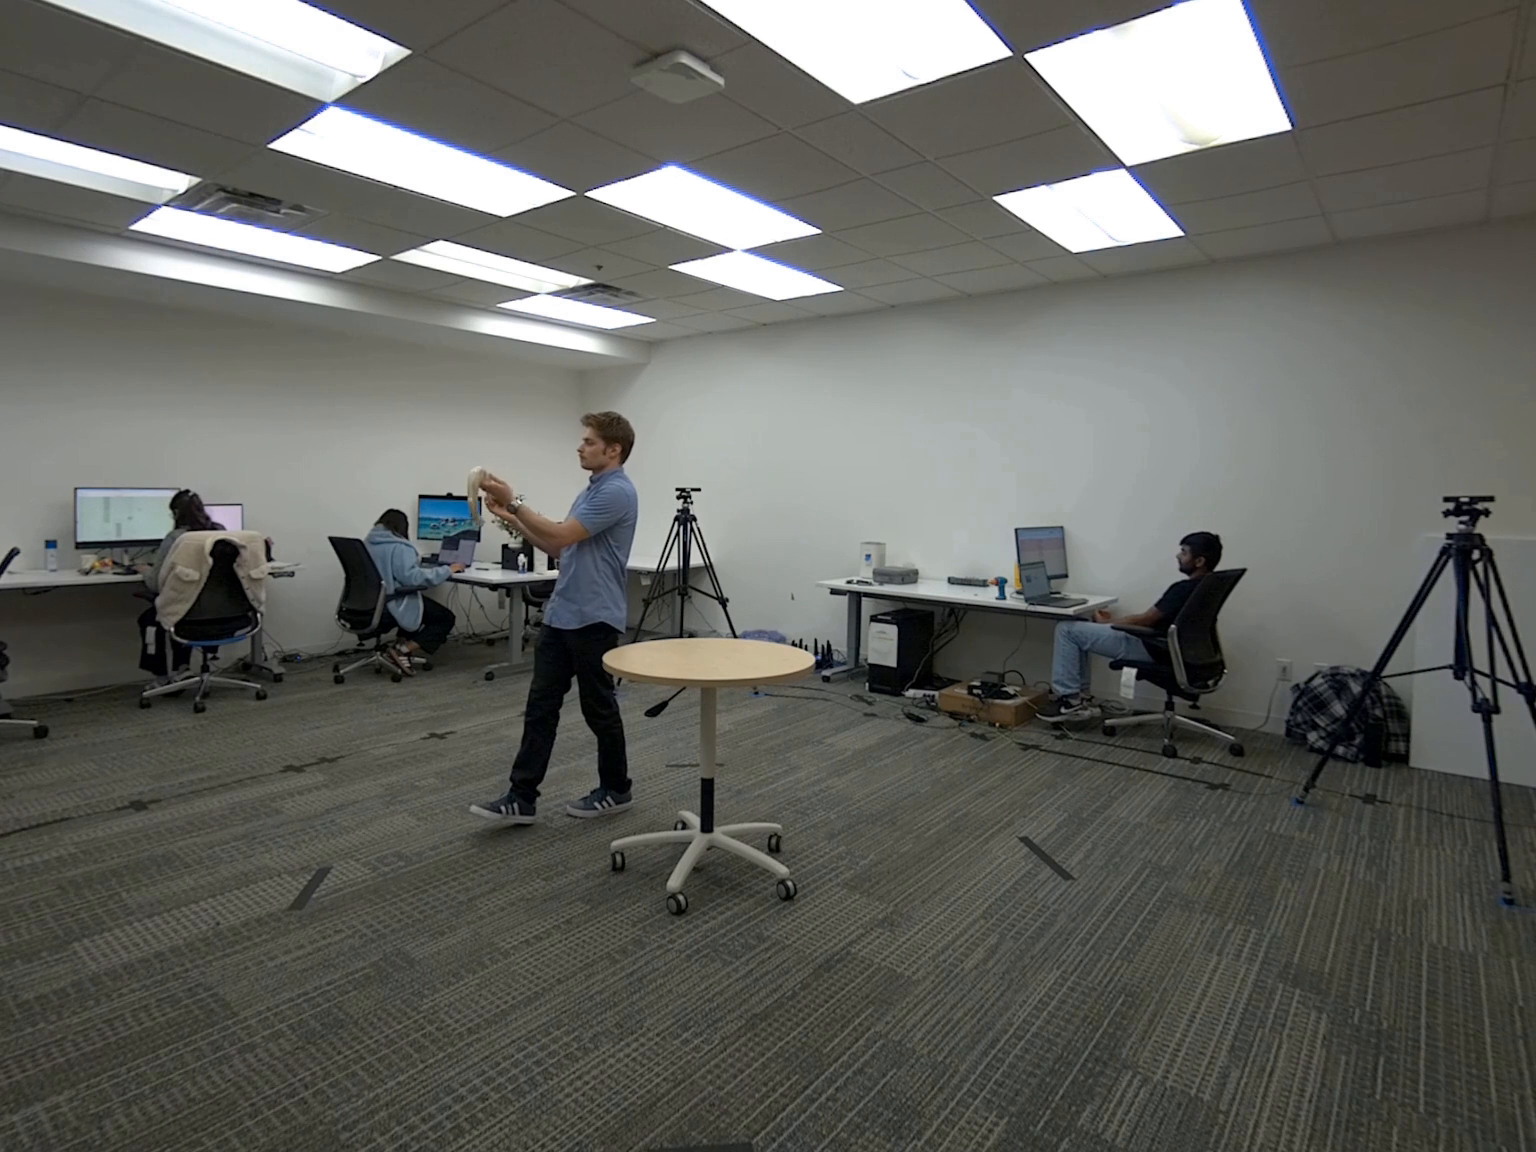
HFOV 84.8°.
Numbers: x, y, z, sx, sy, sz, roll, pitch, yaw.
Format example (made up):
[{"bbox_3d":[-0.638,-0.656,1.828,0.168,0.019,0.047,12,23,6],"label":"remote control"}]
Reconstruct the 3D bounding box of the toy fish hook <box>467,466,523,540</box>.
[{"bbox_3d":[-1.135,-0.290,3.417,0.048,0.226,0.500,3,-8,2],"label":"toy fish hook"}]
